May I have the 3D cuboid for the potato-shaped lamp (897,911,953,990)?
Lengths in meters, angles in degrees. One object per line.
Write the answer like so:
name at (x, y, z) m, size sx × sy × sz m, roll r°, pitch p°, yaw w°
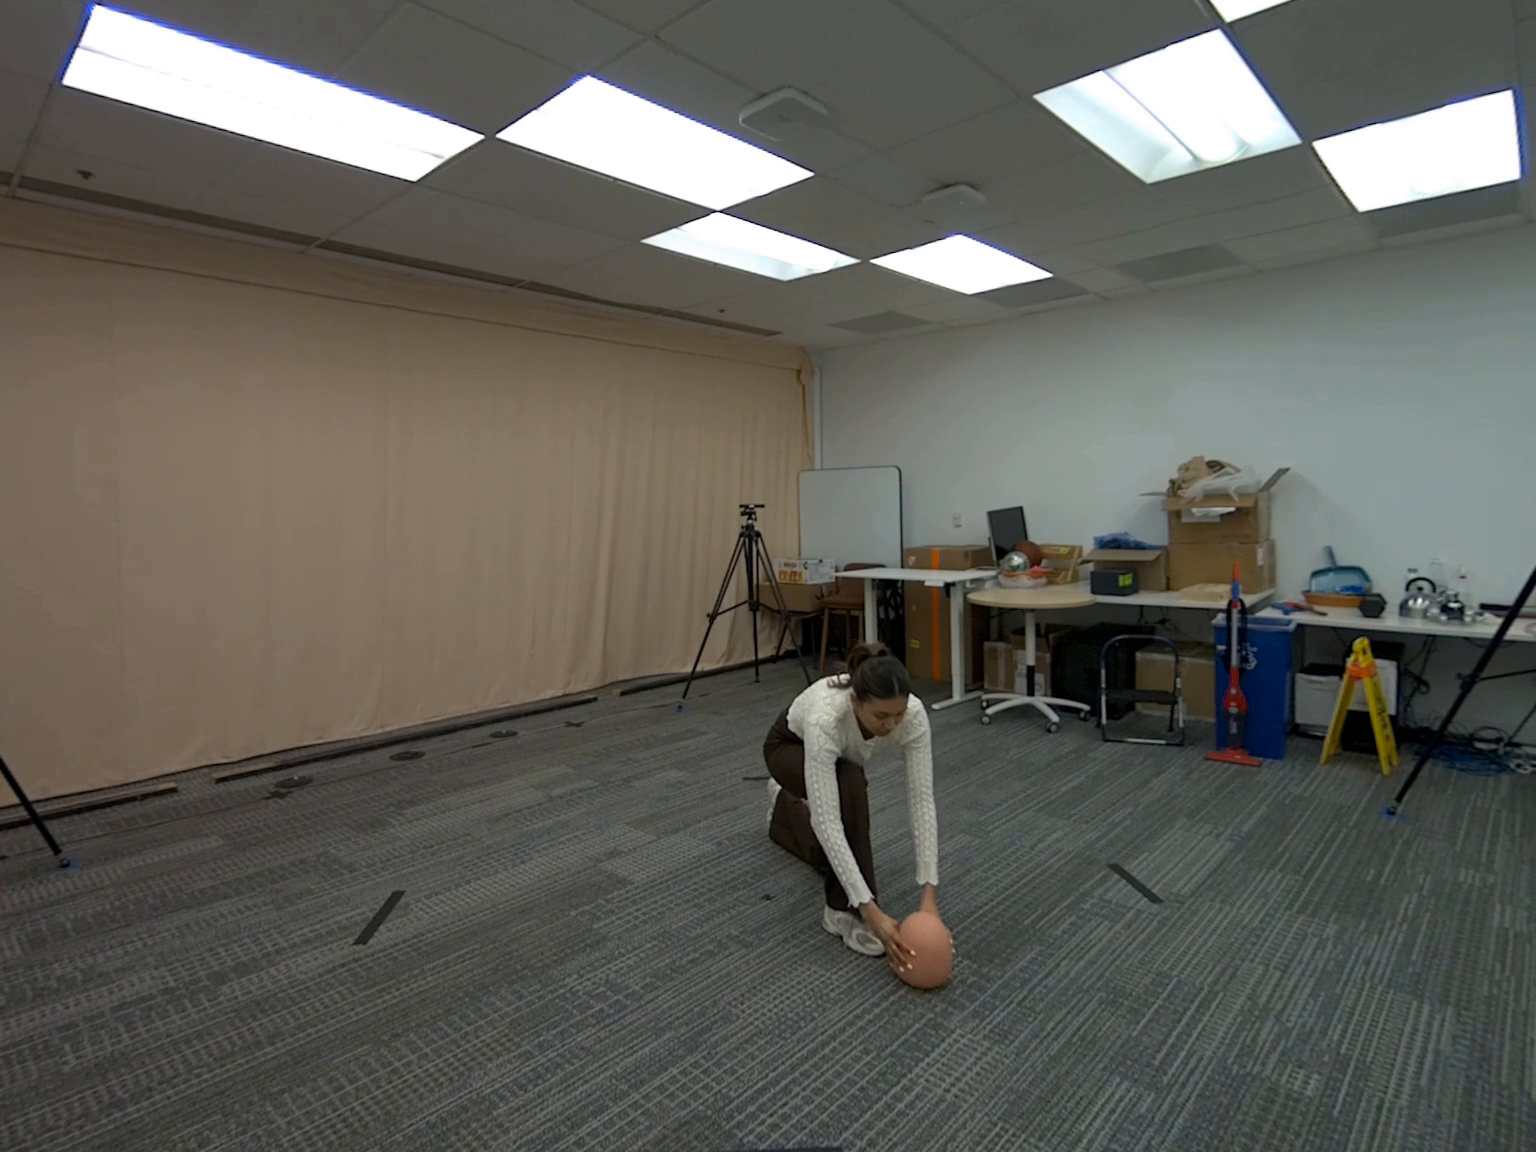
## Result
potato-shaped lamp at (0.455, 1.073, 2.448) m, size 0.161 × 0.198 × 0.175 m, roll 1°, pitch 2°, yaw -23°
